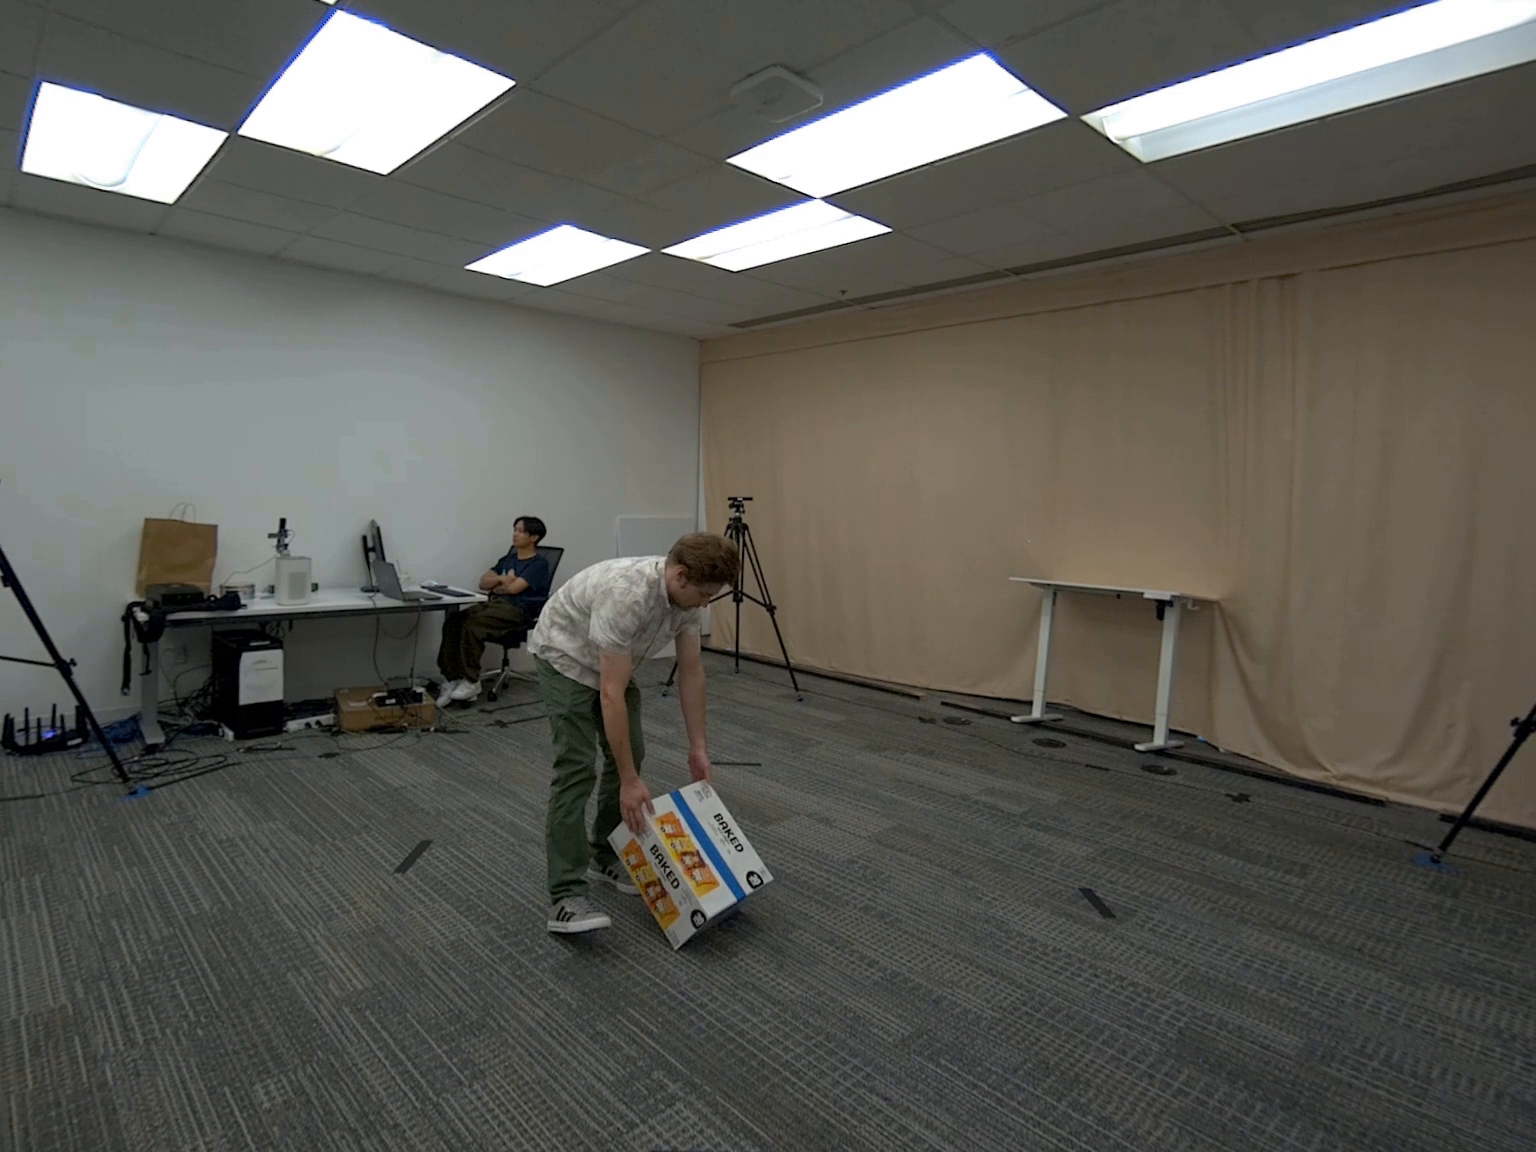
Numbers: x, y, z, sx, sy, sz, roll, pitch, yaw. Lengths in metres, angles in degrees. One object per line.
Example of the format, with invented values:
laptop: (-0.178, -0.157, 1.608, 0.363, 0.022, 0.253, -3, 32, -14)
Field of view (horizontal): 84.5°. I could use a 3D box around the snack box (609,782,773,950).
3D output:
snack box: (-0.258, 0.931, 2.750, 0.333, 0.205, 0.415, -5, 50, -53)
